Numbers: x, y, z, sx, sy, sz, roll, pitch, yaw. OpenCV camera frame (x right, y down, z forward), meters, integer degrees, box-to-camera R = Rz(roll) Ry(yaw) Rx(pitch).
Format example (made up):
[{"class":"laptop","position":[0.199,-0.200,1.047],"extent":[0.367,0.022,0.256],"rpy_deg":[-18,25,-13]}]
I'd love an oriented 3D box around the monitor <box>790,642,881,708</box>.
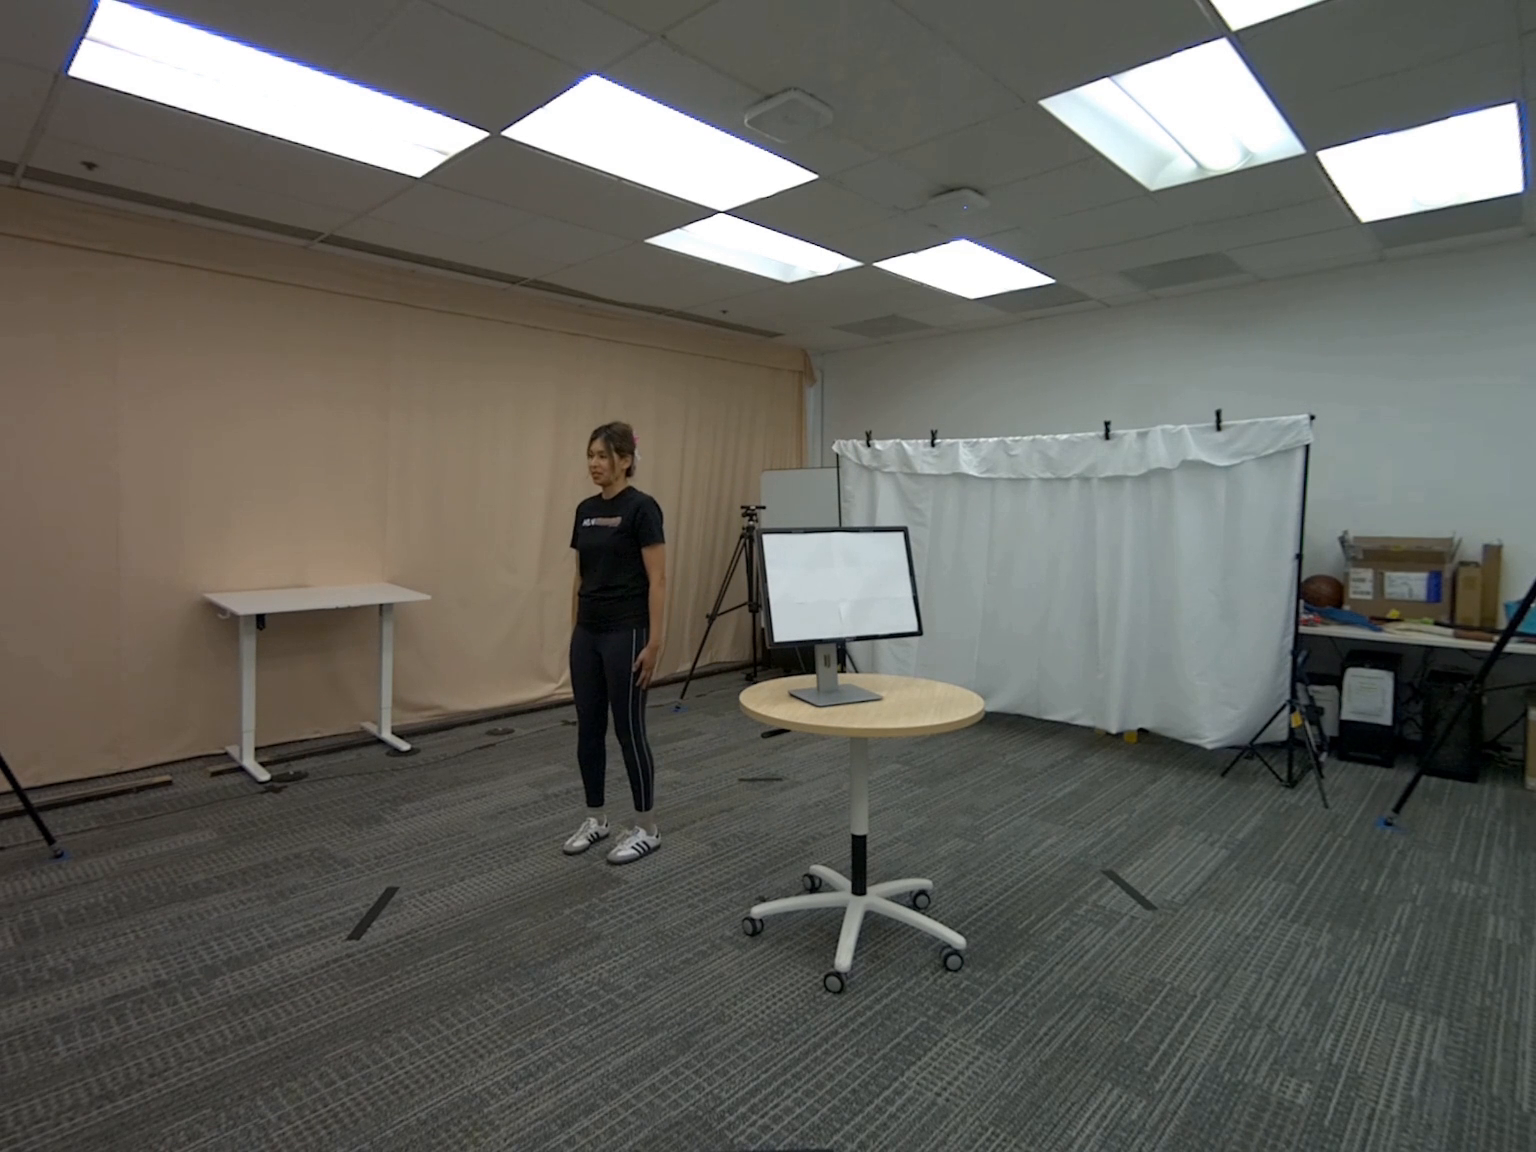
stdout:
[{"class":"monitor","position":[0.210,0.125,2.676],"extent":[0.525,0.521,0.192],"rpy_deg":[-2,3,-27]}]
